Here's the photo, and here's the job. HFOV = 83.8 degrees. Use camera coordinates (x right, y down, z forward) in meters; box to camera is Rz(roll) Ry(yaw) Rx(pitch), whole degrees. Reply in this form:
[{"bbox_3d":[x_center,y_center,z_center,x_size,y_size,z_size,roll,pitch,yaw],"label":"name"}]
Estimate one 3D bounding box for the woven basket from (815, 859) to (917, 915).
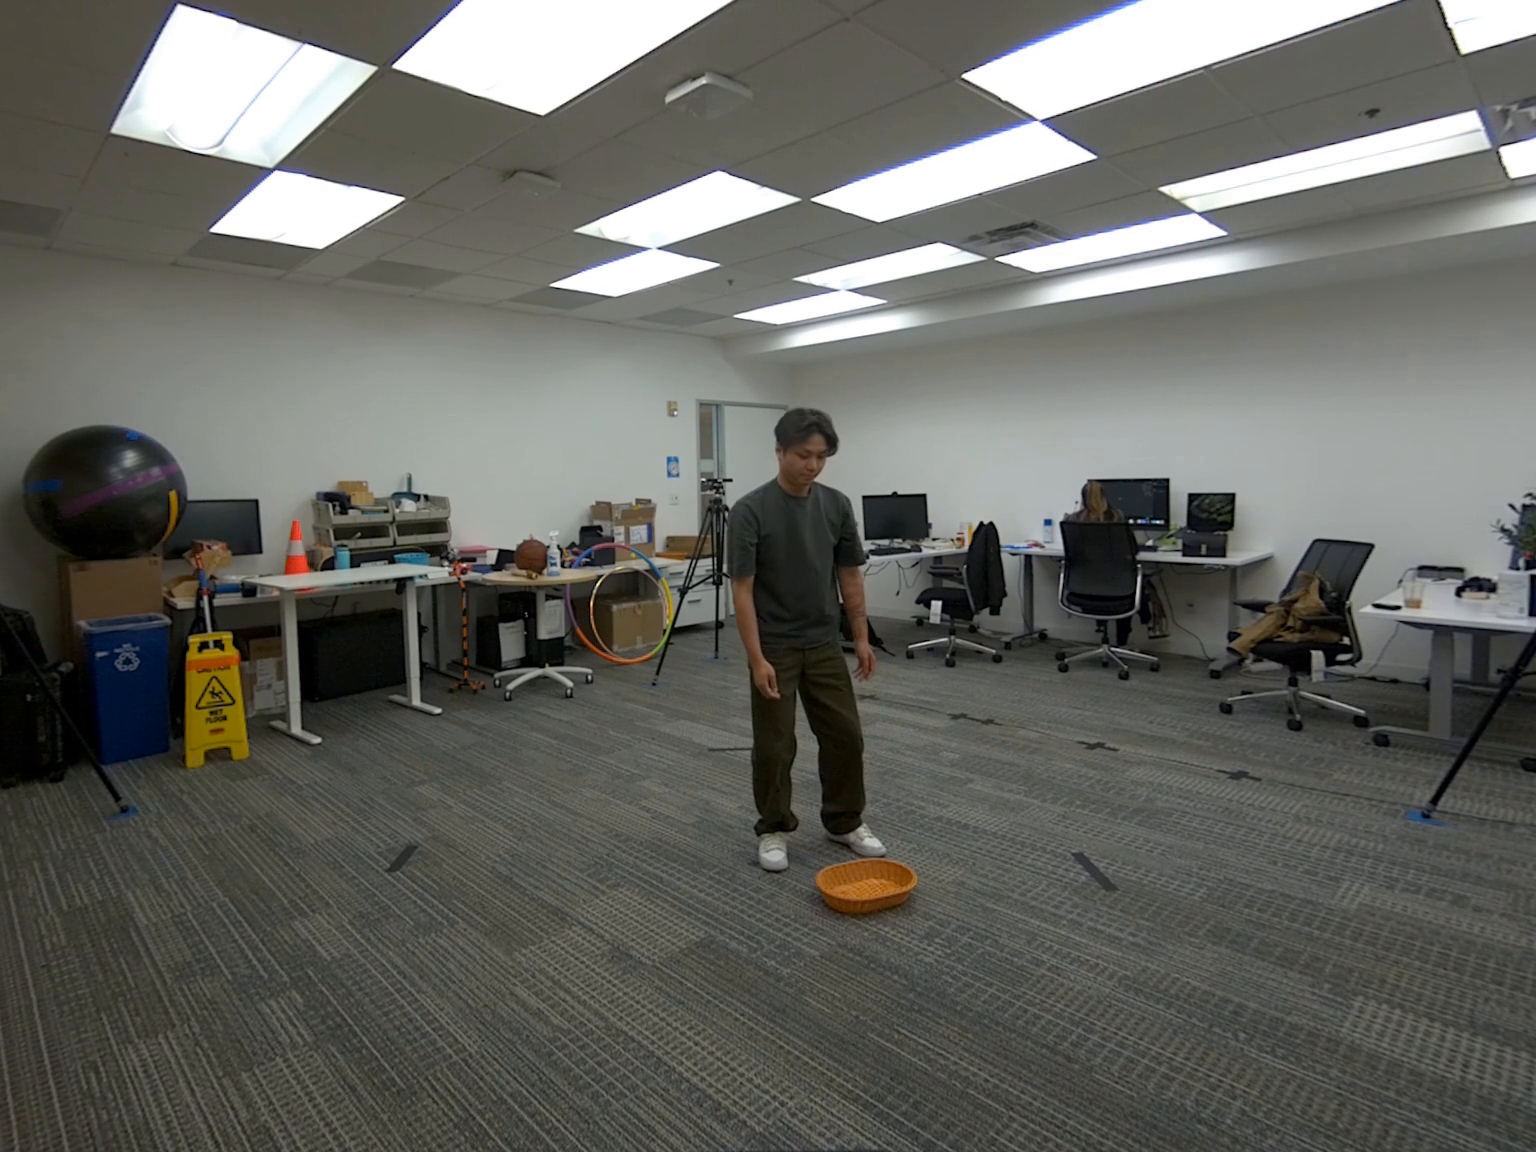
[{"bbox_3d":[0.326,1.030,2.836,0.344,0.073,0.258,-4,7,-23],"label":"woven basket"}]
